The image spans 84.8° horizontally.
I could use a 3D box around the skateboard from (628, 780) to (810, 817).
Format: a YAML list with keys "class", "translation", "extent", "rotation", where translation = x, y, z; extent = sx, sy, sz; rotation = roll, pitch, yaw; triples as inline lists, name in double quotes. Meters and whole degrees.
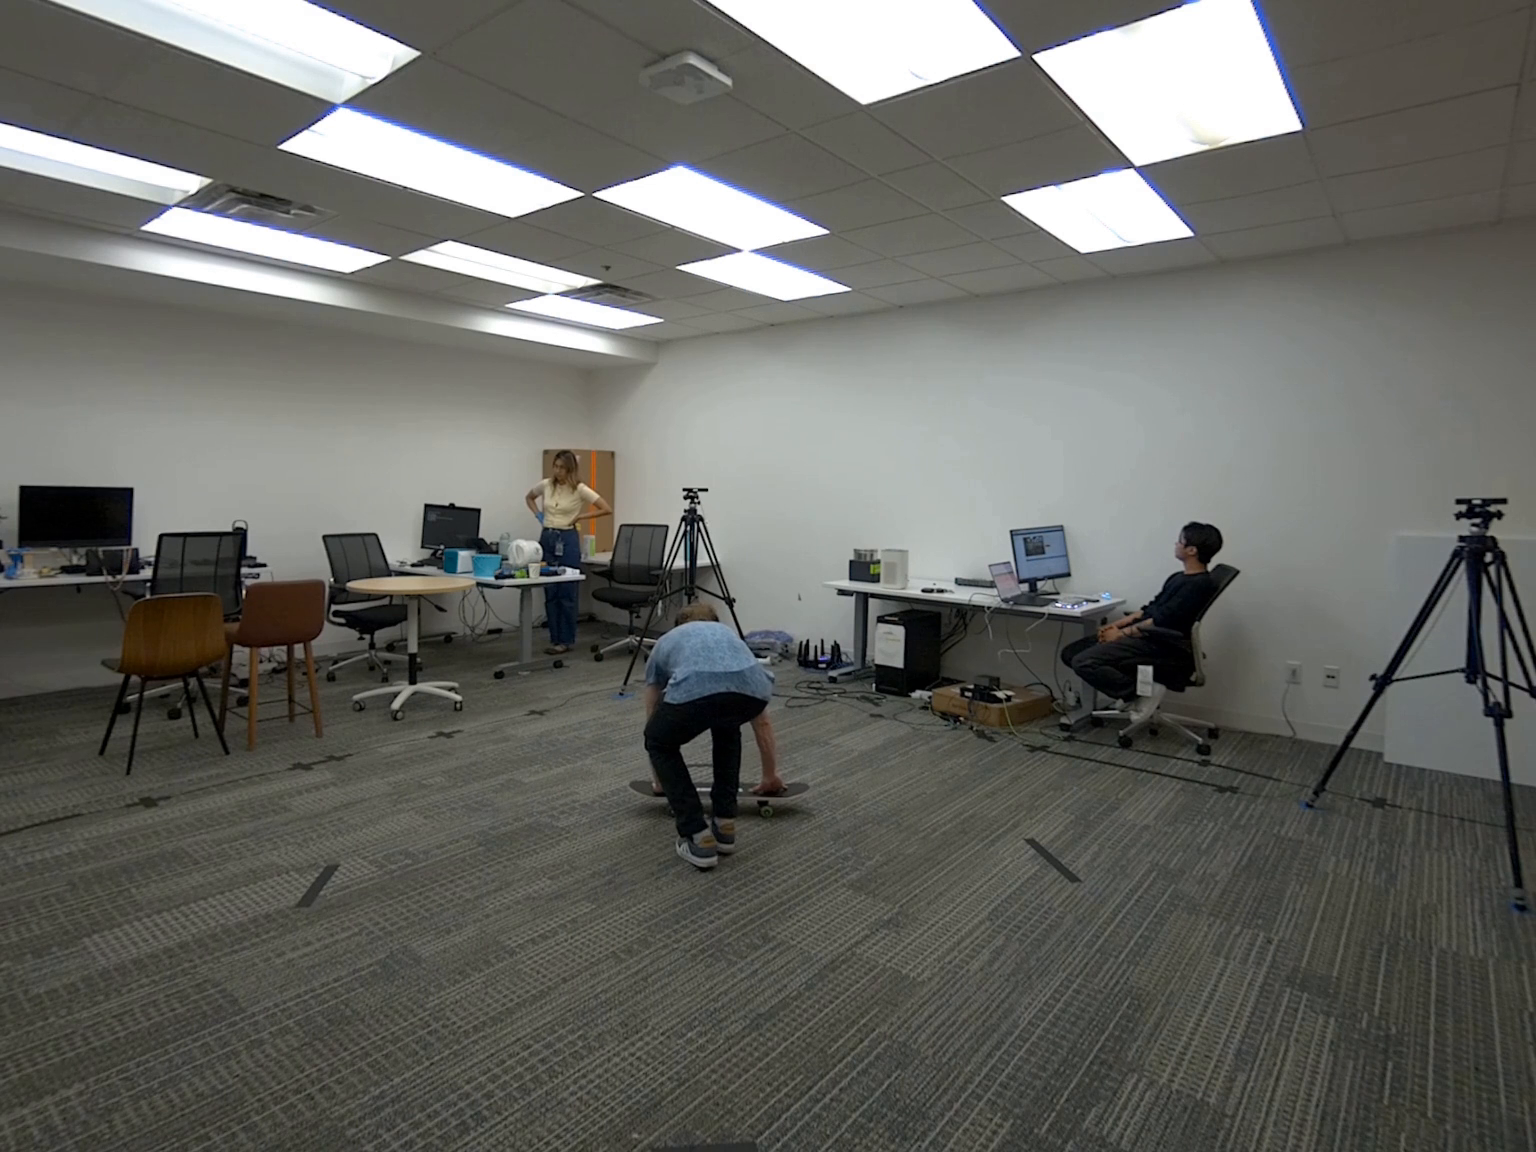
- class: "skateboard"
  translation: [-0.212, 0.951, 3.685]
  extent: [0.784, 0.110, 0.194]
  rotation: [1, 3, -2]
